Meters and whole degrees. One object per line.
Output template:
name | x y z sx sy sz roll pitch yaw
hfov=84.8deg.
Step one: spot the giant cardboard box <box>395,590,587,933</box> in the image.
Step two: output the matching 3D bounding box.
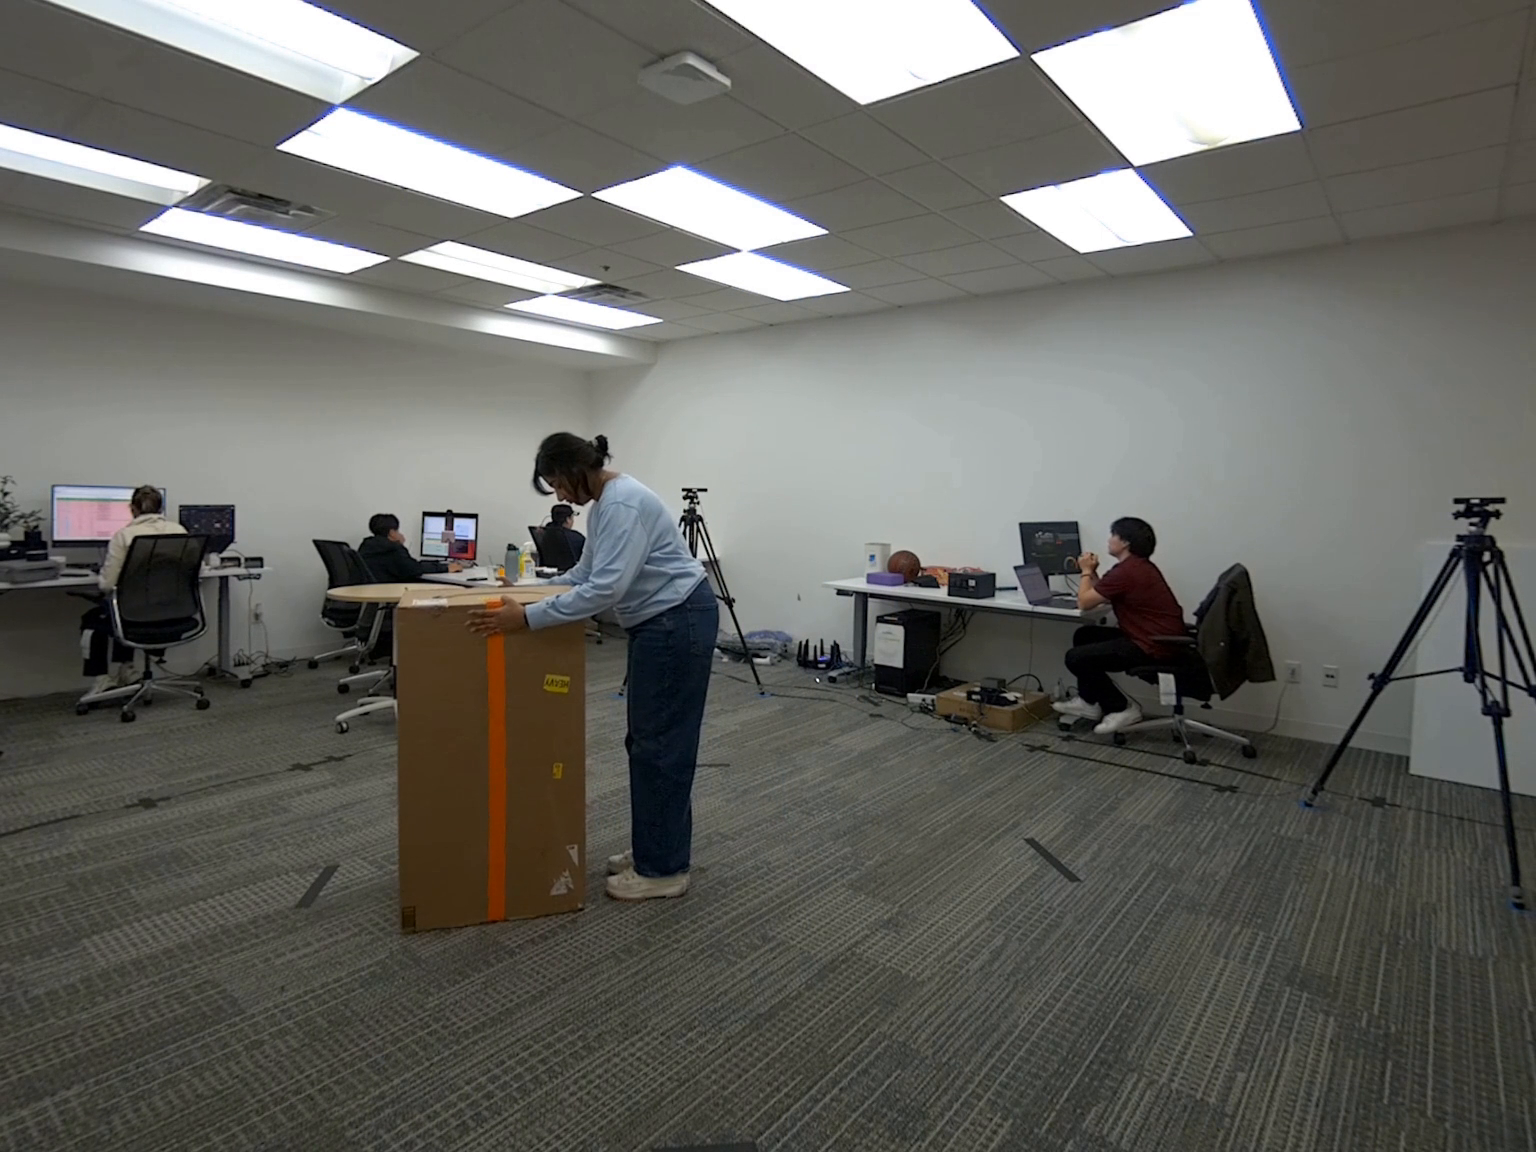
giant cardboard box | -0.948 0.566 2.871 0.574 1.024 0.456 0 4 -17
